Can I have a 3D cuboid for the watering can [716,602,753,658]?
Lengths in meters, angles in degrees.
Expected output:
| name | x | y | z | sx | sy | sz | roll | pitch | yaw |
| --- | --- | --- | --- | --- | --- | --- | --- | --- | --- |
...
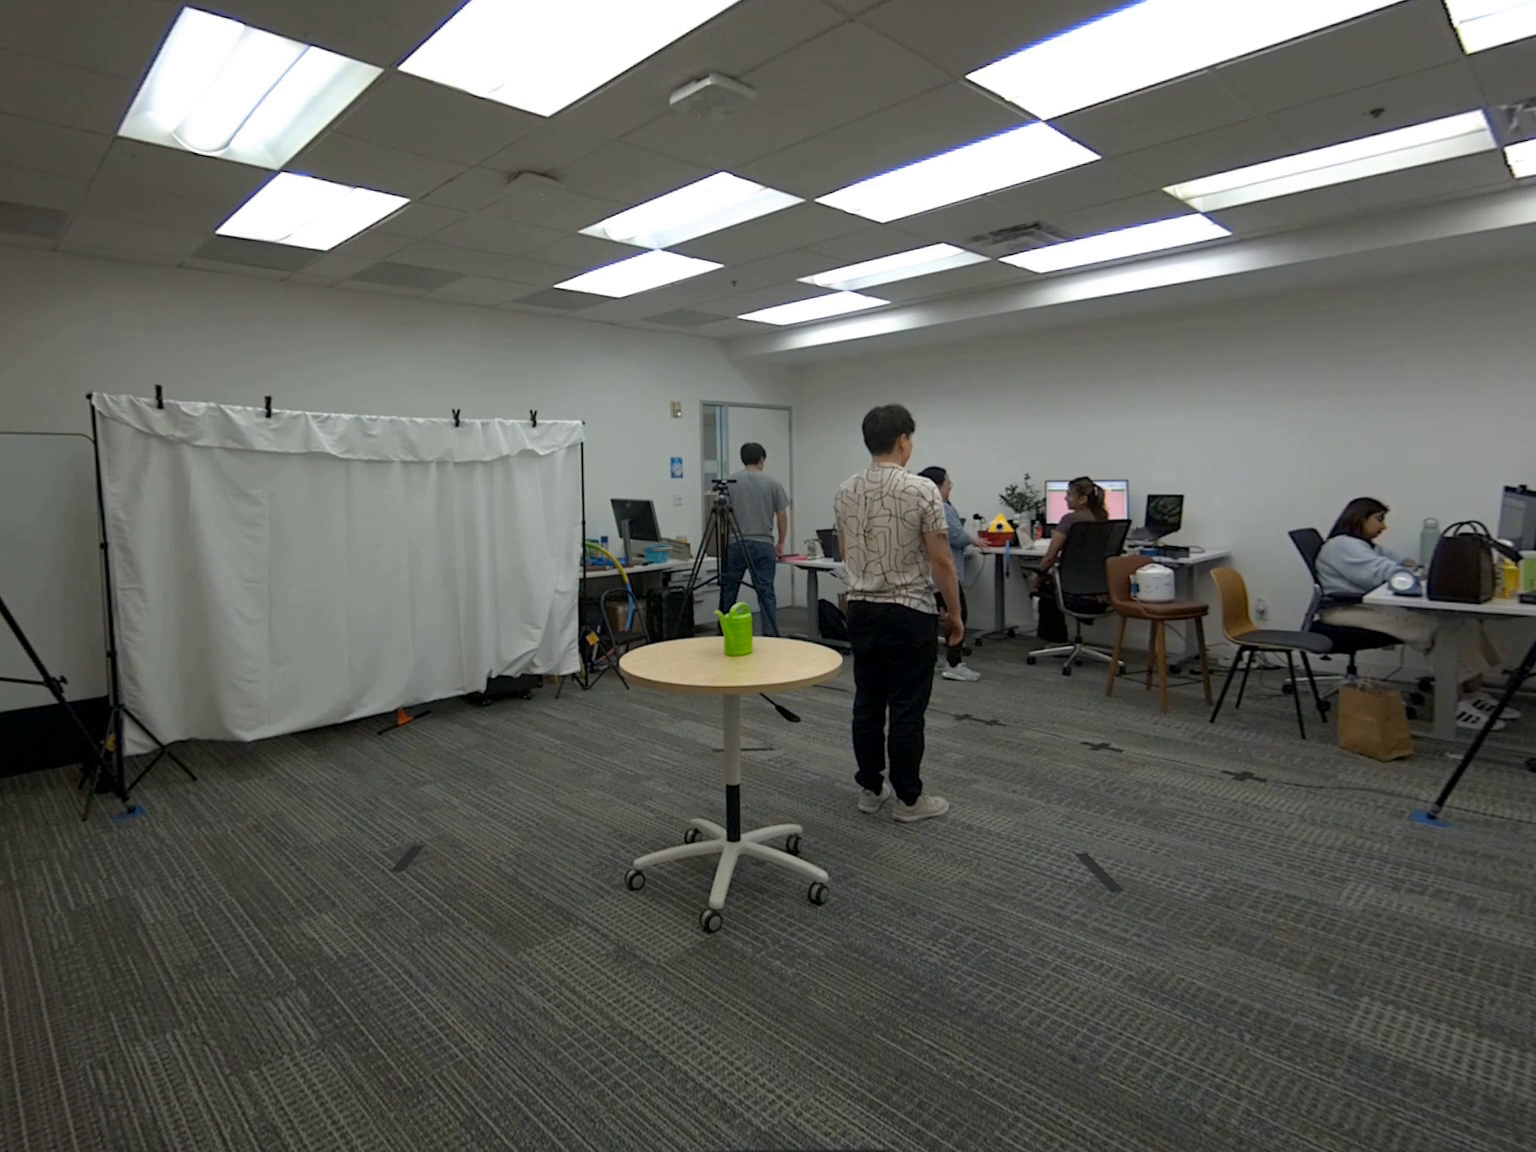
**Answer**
| name | x | y | z | sx | sy | sz | roll | pitch | yaw |
| --- | --- | --- | --- | --- | --- | --- | --- | --- | --- |
| watering can | -0.125 | 0.190 | 2.987 | 0.100 | 0.176 | 0.272 | 1 | 5 | 32 |
